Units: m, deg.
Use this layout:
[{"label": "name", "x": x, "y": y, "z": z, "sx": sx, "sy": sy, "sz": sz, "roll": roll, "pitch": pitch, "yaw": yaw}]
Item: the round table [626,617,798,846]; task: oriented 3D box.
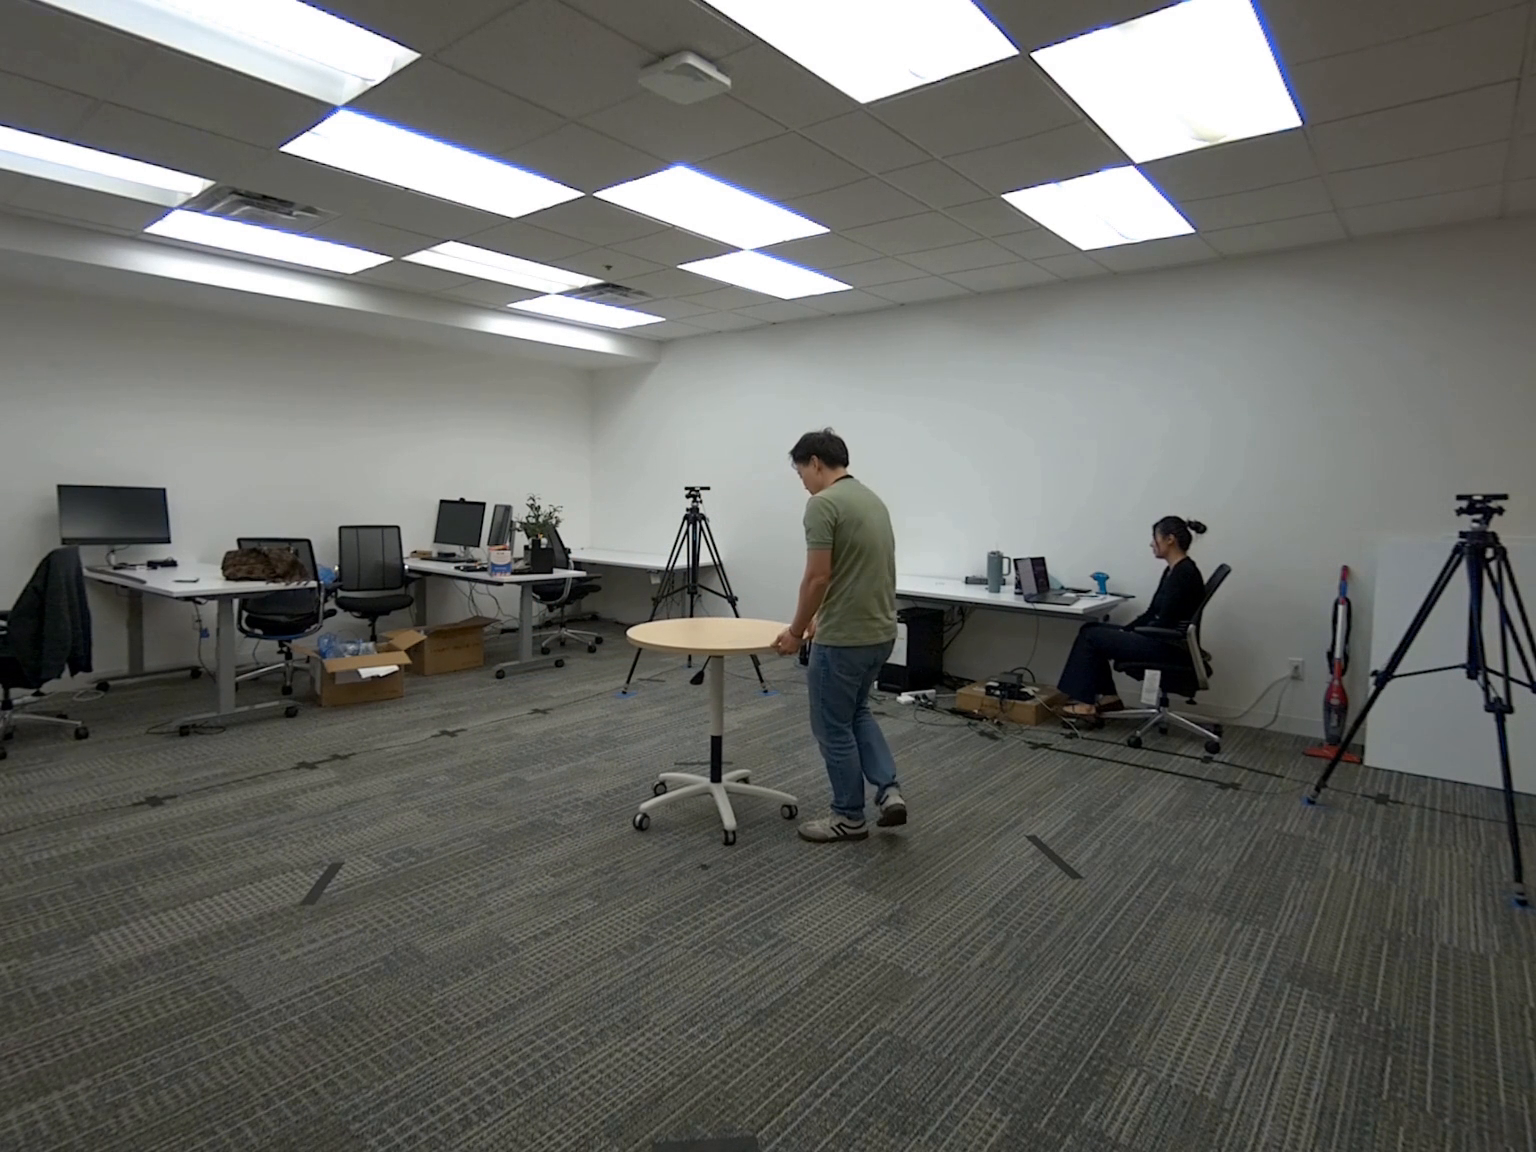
[{"label": "round table", "x": -0.236, "y": 0.626, "z": 3.621, "sx": 0.763, "sy": 0.791, "sz": 0.768, "roll": 0, "pitch": 4, "yaw": -2}]
